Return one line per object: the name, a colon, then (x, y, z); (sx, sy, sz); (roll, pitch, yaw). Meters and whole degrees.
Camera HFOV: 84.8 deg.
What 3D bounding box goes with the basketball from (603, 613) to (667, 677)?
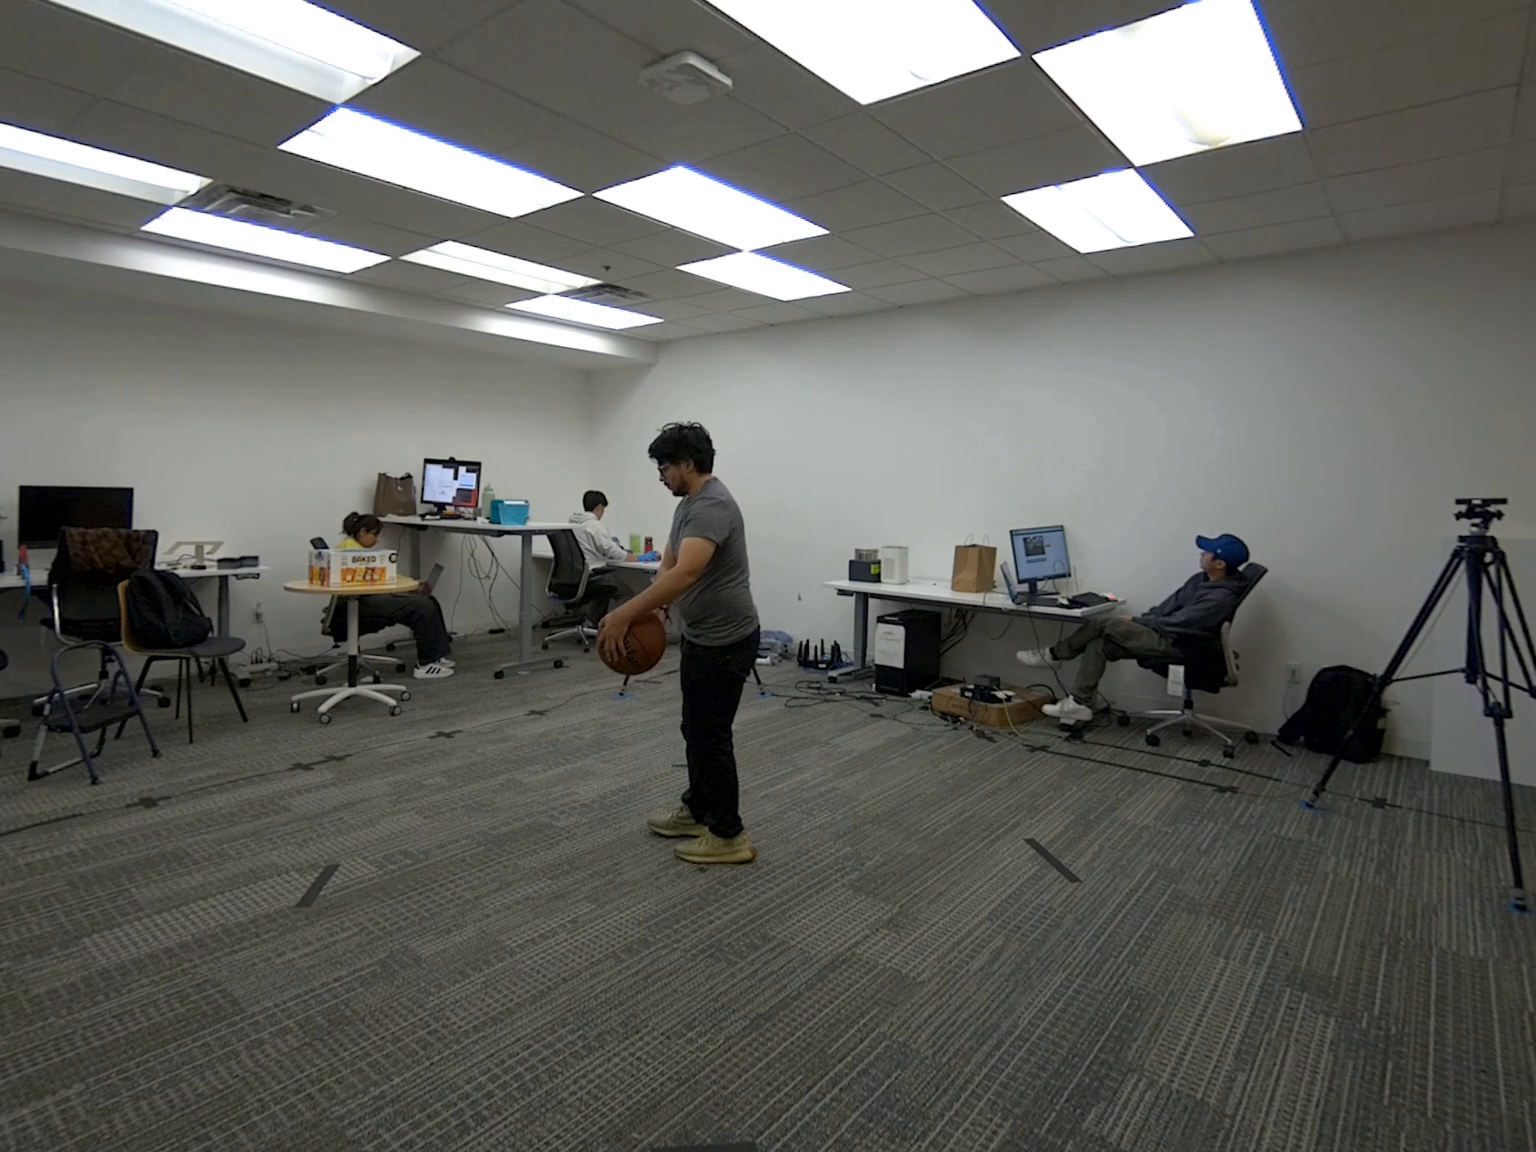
basketball: (-0.474, 0.210, 2.897); (0.235, 0.235, 0.237); (1, 4, -2)
